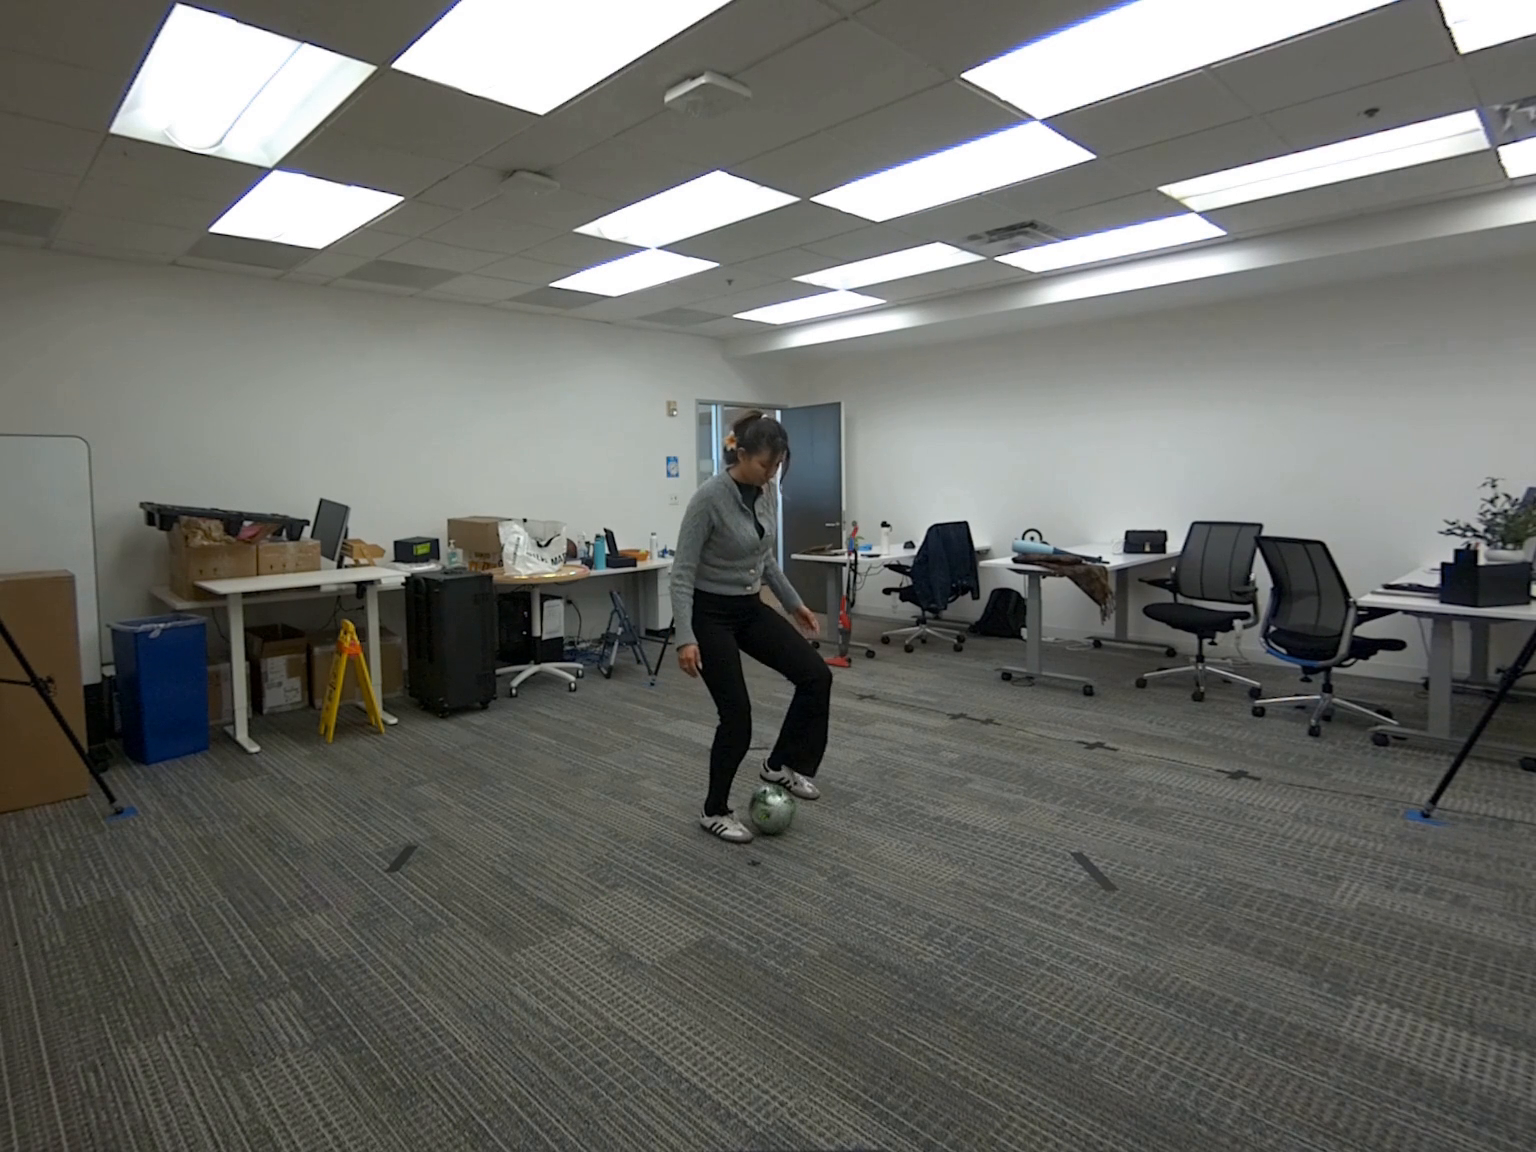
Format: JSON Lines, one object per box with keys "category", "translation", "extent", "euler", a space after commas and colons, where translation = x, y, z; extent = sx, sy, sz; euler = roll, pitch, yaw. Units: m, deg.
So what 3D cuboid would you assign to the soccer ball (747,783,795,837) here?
{"category": "soccer ball", "translation": [0.013, 0.921, 3.324], "extent": [0.187, 0.187, 0.188], "euler": [-1, 5, -2]}
